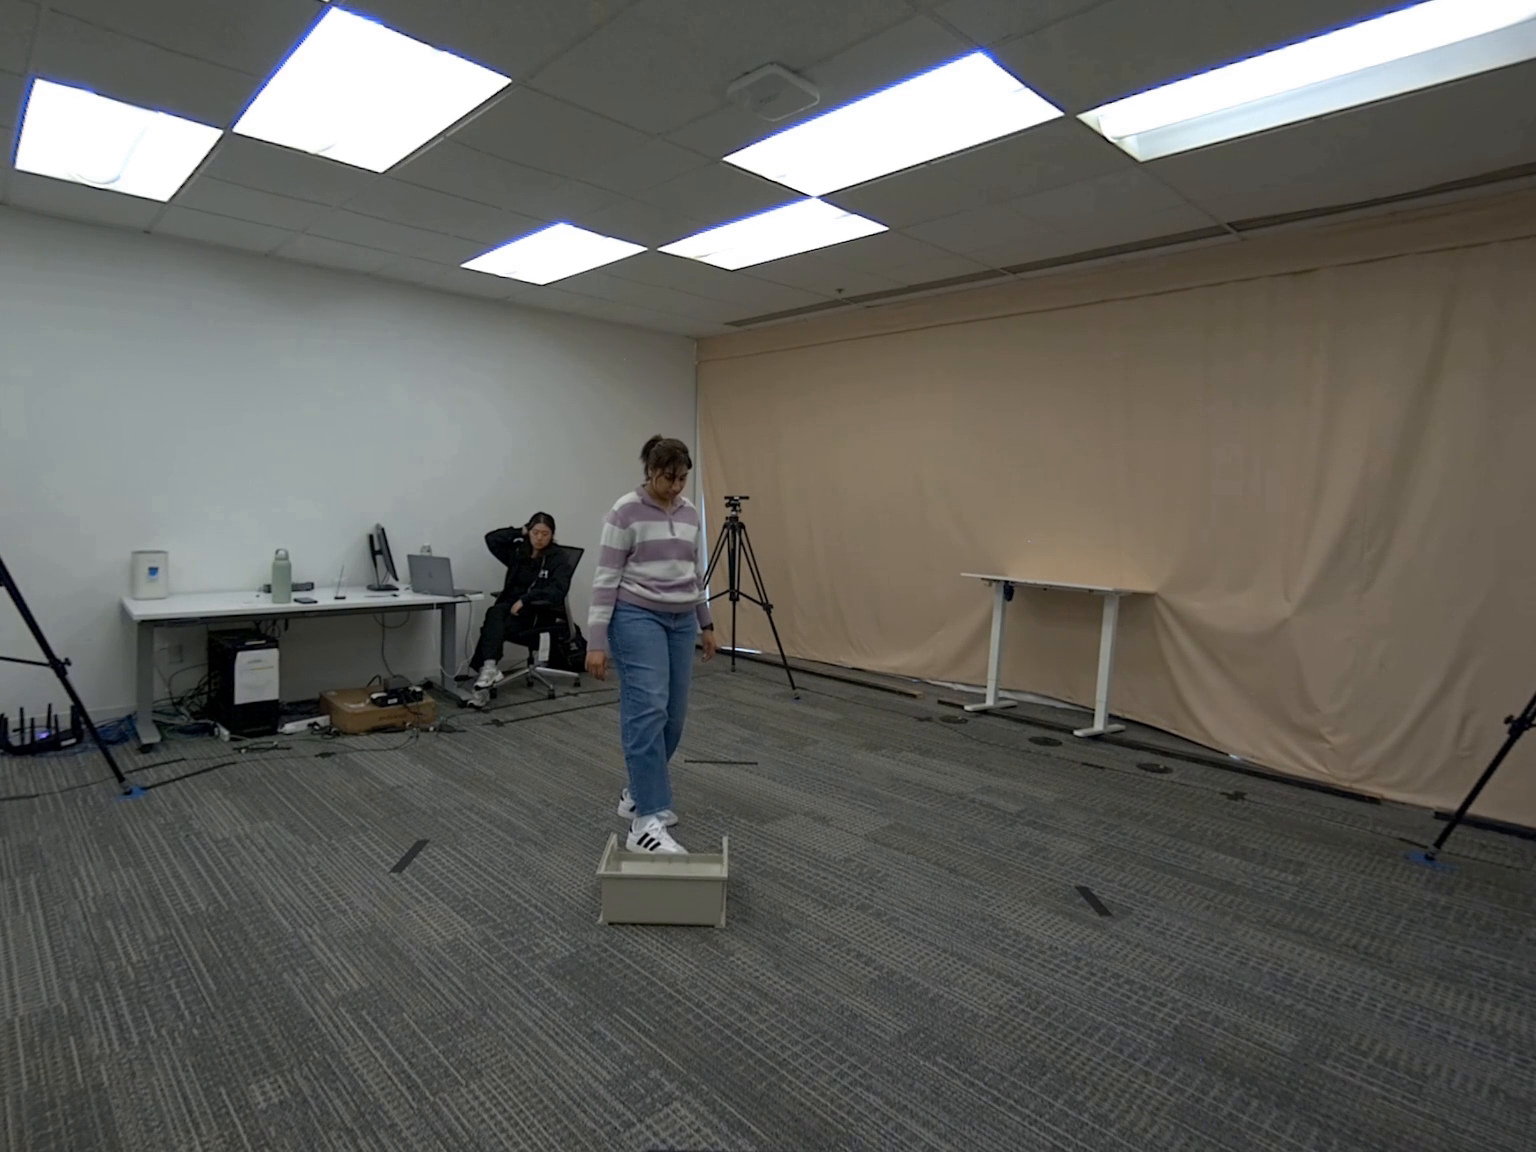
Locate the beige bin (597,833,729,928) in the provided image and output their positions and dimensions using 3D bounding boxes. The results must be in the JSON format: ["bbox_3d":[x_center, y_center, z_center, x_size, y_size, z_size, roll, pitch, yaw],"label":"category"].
[{"bbox_3d":[-0.356,1.032,2.886,0.422,0.188,0.379,2,5,-2],"label":"beige bin"}]
